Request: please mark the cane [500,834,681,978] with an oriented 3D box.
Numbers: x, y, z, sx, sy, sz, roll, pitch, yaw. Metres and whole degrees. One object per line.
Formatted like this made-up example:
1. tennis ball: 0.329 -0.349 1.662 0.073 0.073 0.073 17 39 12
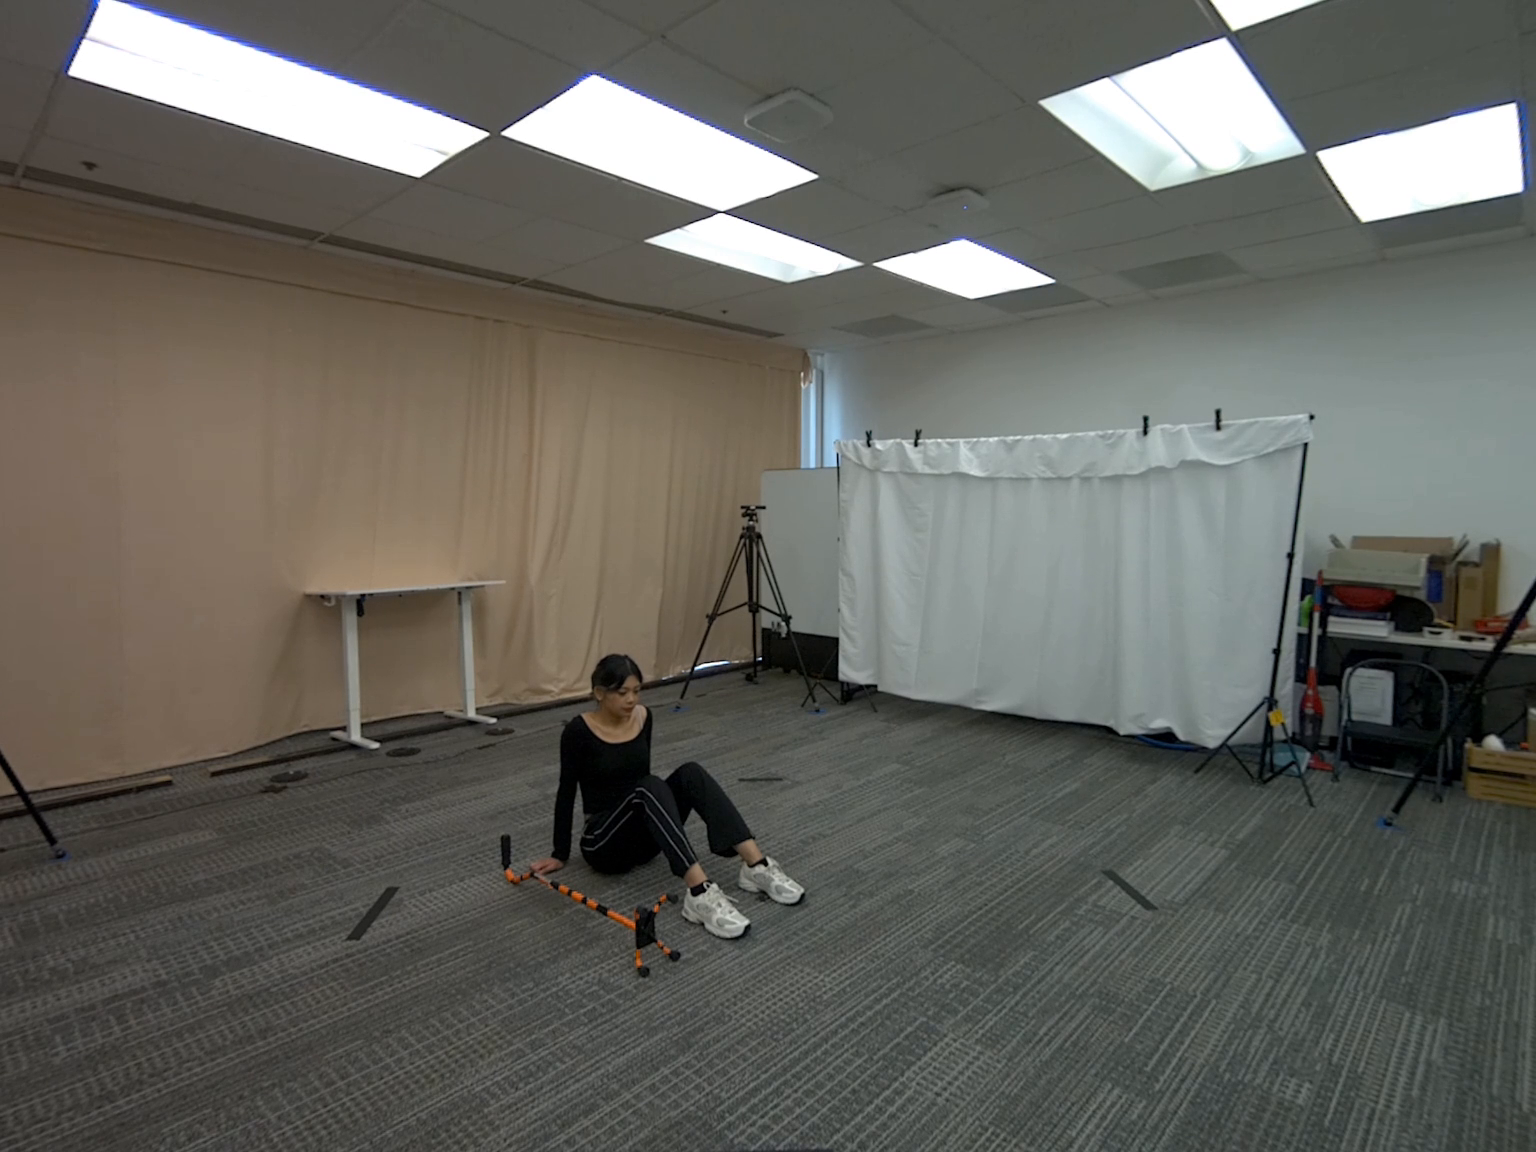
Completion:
1. cane: -0.656 1.065 2.857 0.937 0.206 0.147 1 3 45
